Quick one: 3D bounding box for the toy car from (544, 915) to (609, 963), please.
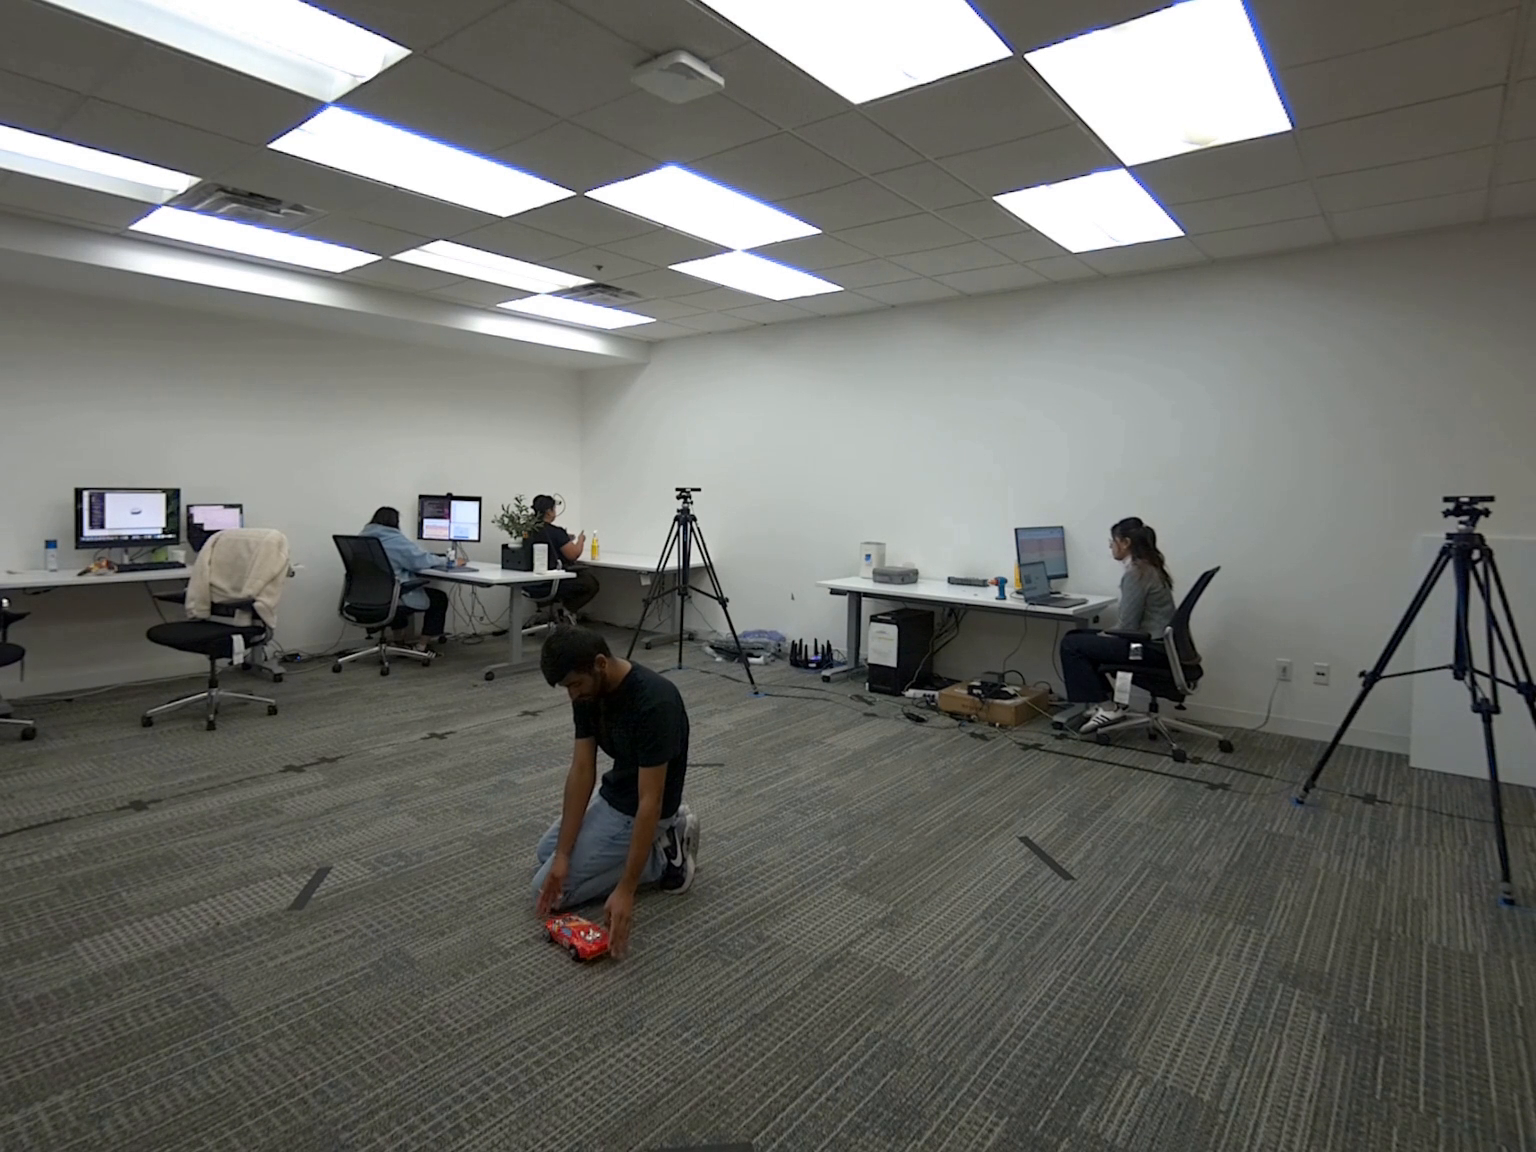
[{"bbox_3d":[-0.581,1.083,2.556,0.126,0.083,0.261,-4,-2,-45],"label":"toy car"}]
